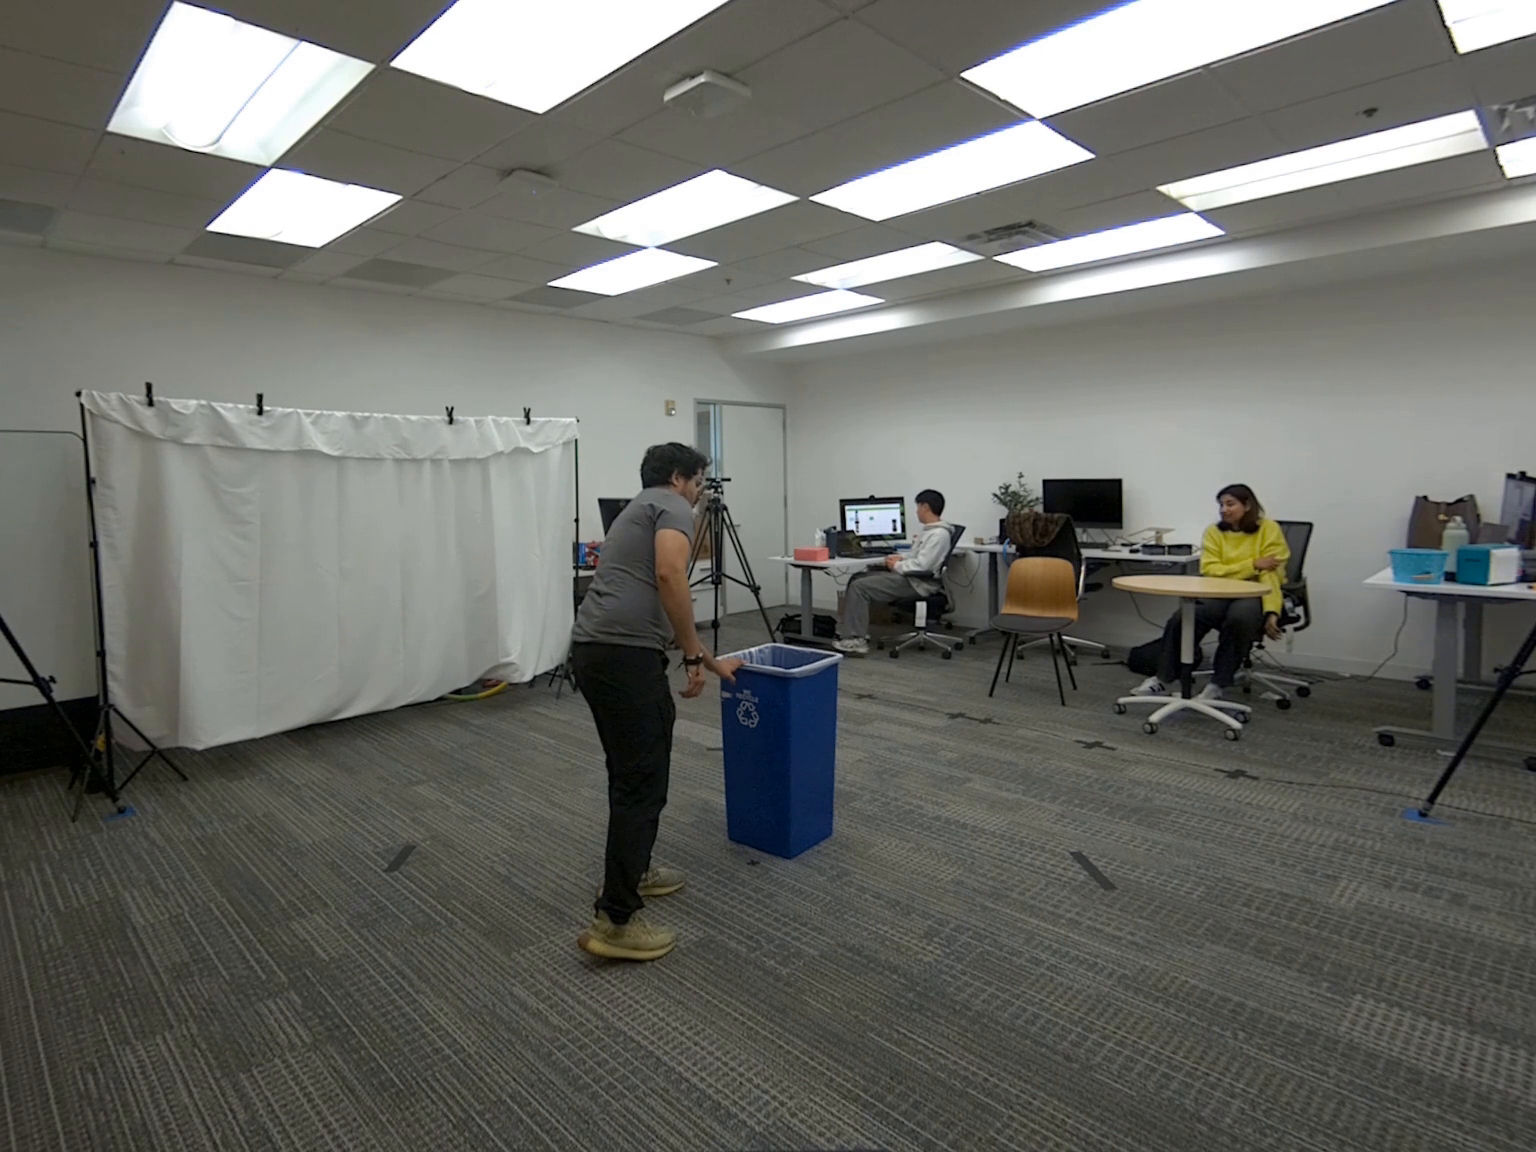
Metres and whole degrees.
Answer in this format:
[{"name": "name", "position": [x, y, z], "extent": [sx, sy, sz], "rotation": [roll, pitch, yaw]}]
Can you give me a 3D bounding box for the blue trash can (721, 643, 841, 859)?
[{"name": "blue trash can", "position": [0.055, 0.661, 3.303], "extent": [0.385, 0.711, 0.368], "rotation": [2, 6, 38]}]
